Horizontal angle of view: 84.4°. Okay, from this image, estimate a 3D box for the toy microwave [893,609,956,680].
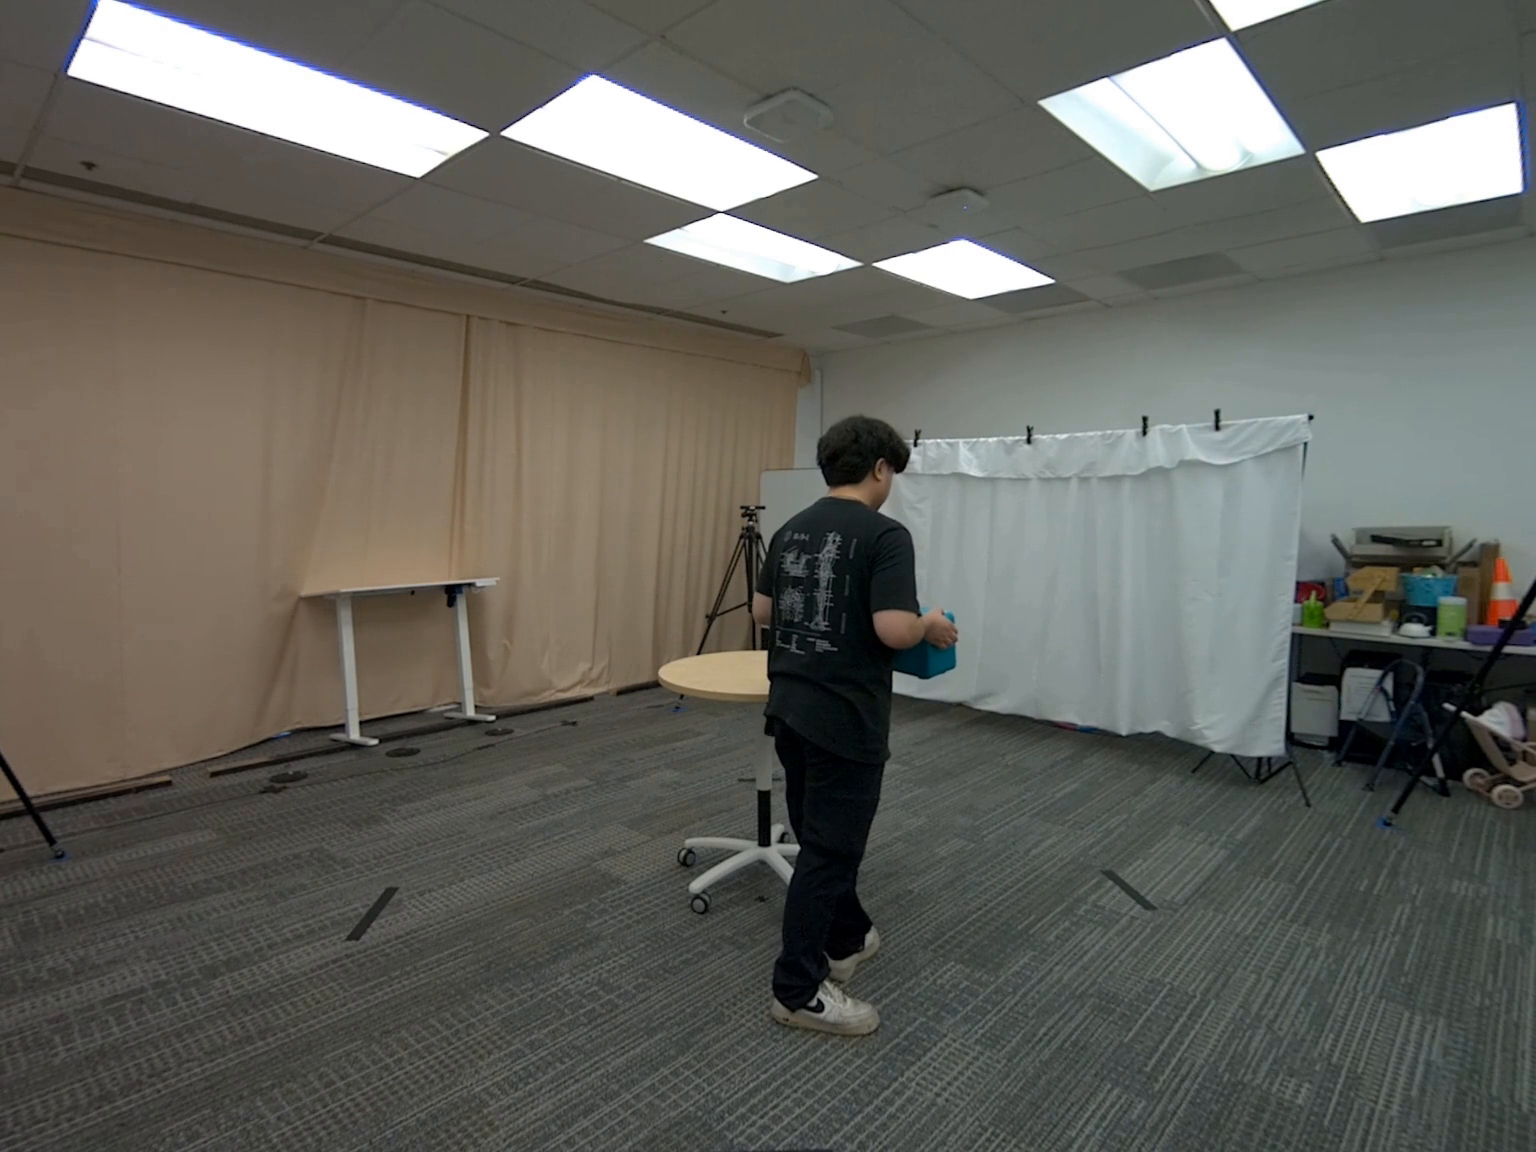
[{"bbox_3d":[0.415,0.184,2.517,0.148,0.183,0.296,-11,12,-37],"label":"toy microwave"}]
